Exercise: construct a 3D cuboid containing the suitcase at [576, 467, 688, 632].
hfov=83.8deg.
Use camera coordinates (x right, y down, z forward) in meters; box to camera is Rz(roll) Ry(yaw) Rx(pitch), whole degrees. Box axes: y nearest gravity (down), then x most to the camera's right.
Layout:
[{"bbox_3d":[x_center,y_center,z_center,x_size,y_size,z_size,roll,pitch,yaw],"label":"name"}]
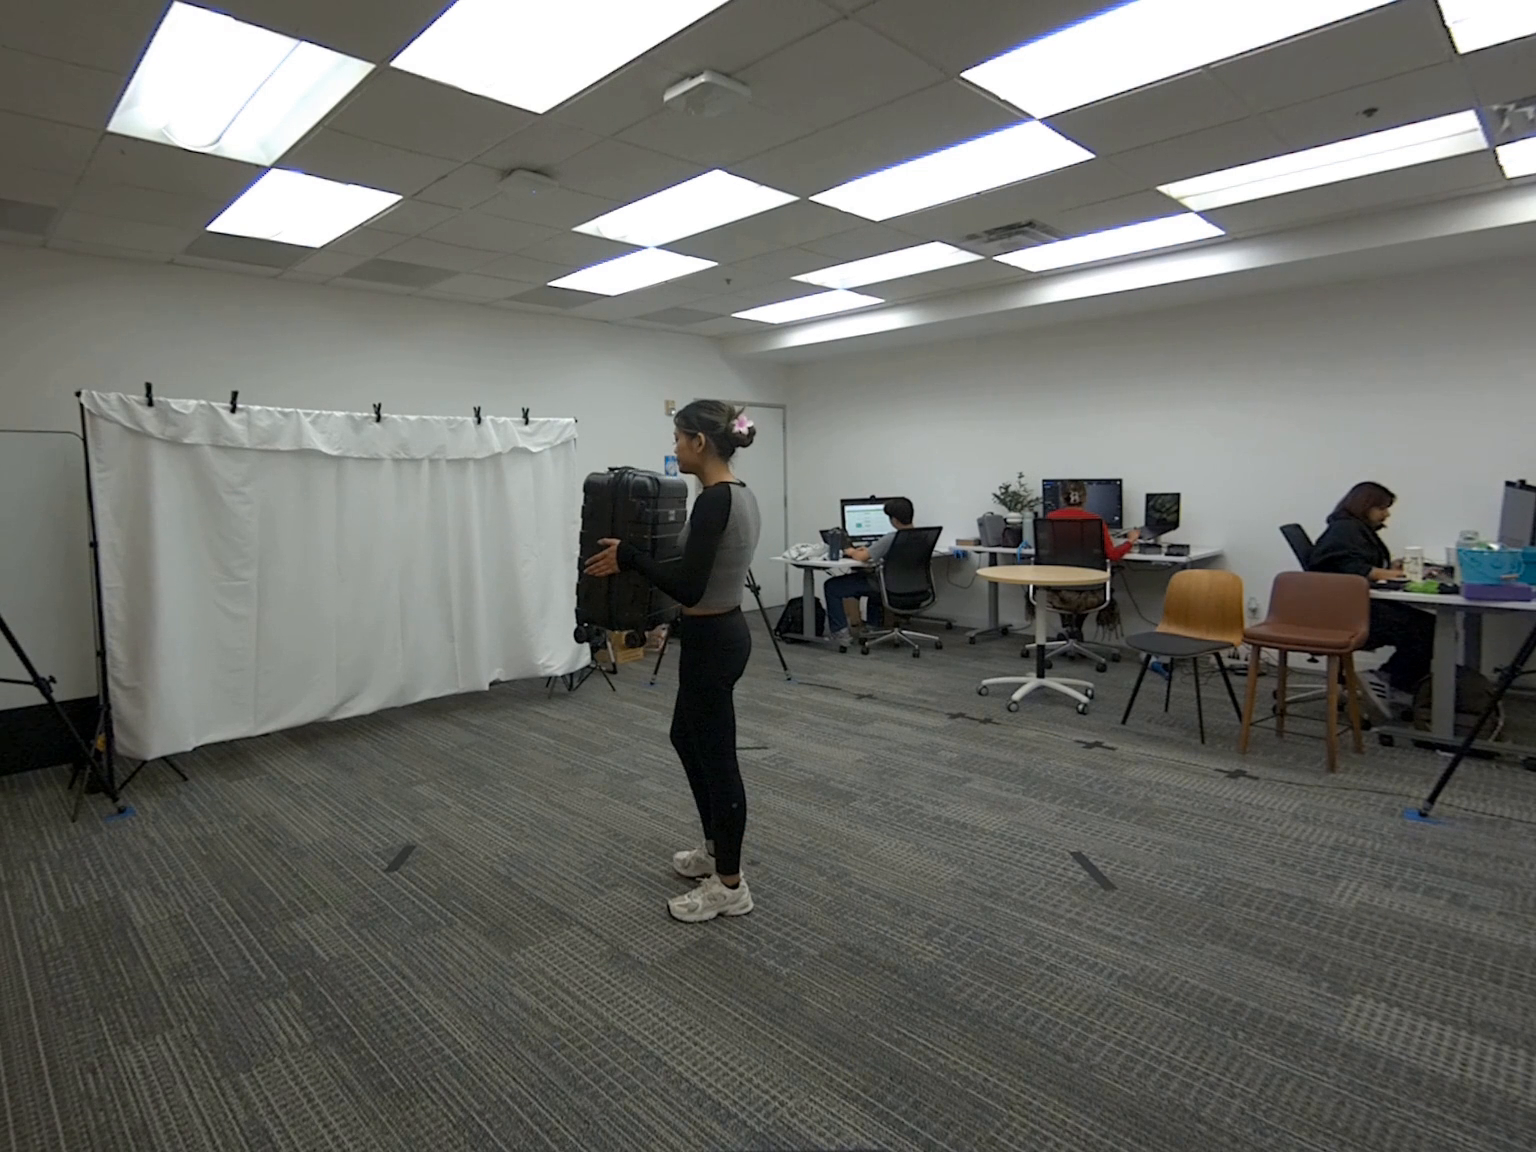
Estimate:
[{"bbox_3d":[-0.428,-0.077,2.760,0.253,0.548,0.370,4,4,16],"label":"suitcase"}]
